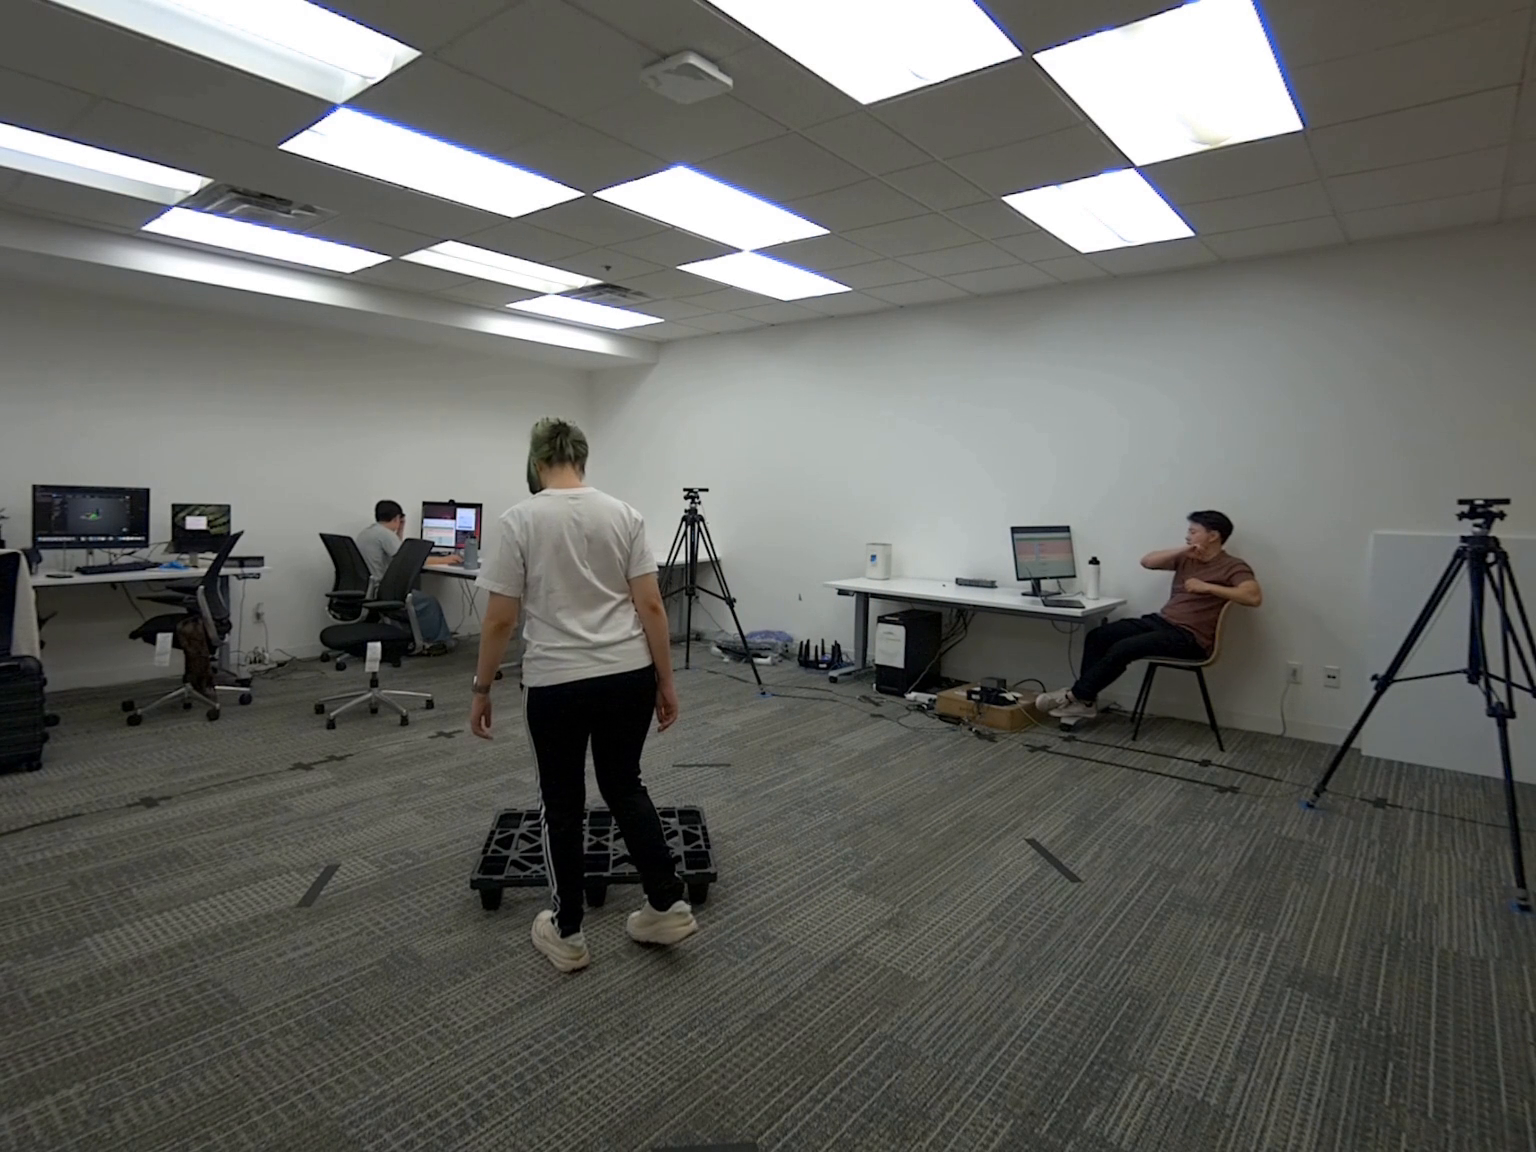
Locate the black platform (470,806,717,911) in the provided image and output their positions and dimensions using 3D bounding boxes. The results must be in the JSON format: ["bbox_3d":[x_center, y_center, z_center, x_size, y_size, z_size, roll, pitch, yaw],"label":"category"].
[{"bbox_3d":[-0.611,0.999,3.037,0.800,0.143,0.612,0,6,-7],"label":"black platform"}]
